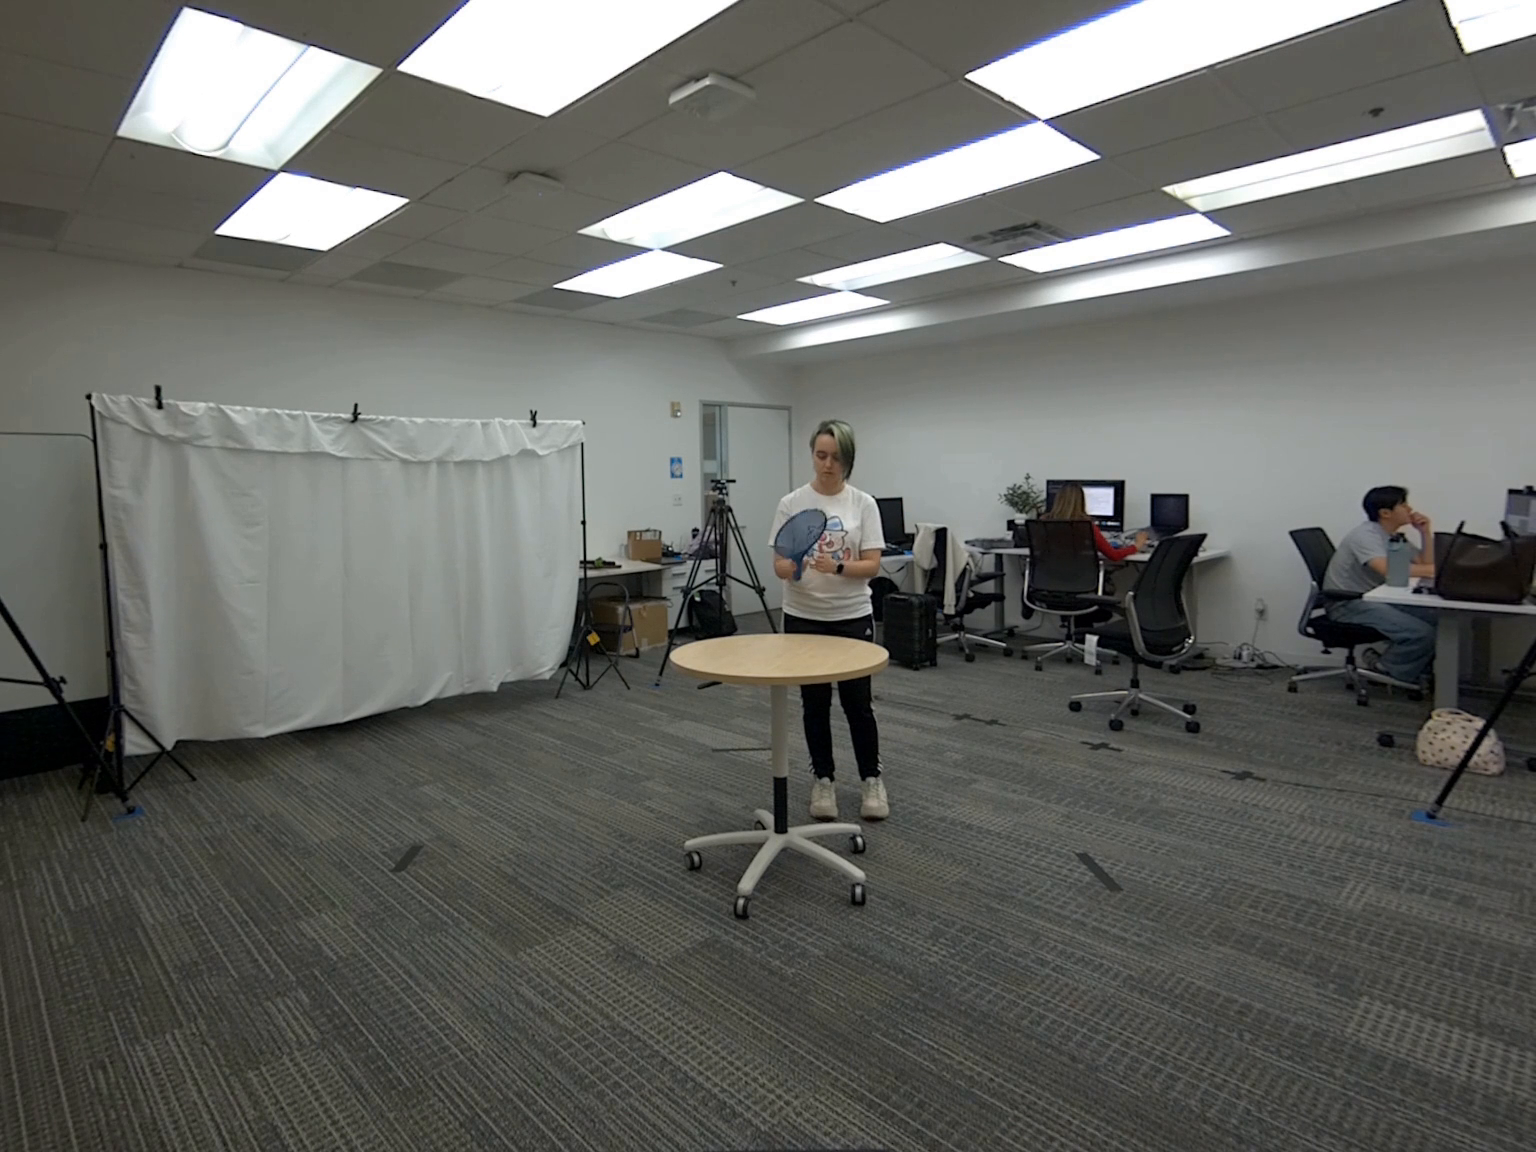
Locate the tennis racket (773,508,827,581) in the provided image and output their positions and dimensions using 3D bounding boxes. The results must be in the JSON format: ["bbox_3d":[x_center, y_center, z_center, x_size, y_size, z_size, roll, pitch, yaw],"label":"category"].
[{"bbox_3d":[0.127,-0.099,3.121,0.213,0.033,0.420,-28,-30,-9],"label":"tennis racket"}]
